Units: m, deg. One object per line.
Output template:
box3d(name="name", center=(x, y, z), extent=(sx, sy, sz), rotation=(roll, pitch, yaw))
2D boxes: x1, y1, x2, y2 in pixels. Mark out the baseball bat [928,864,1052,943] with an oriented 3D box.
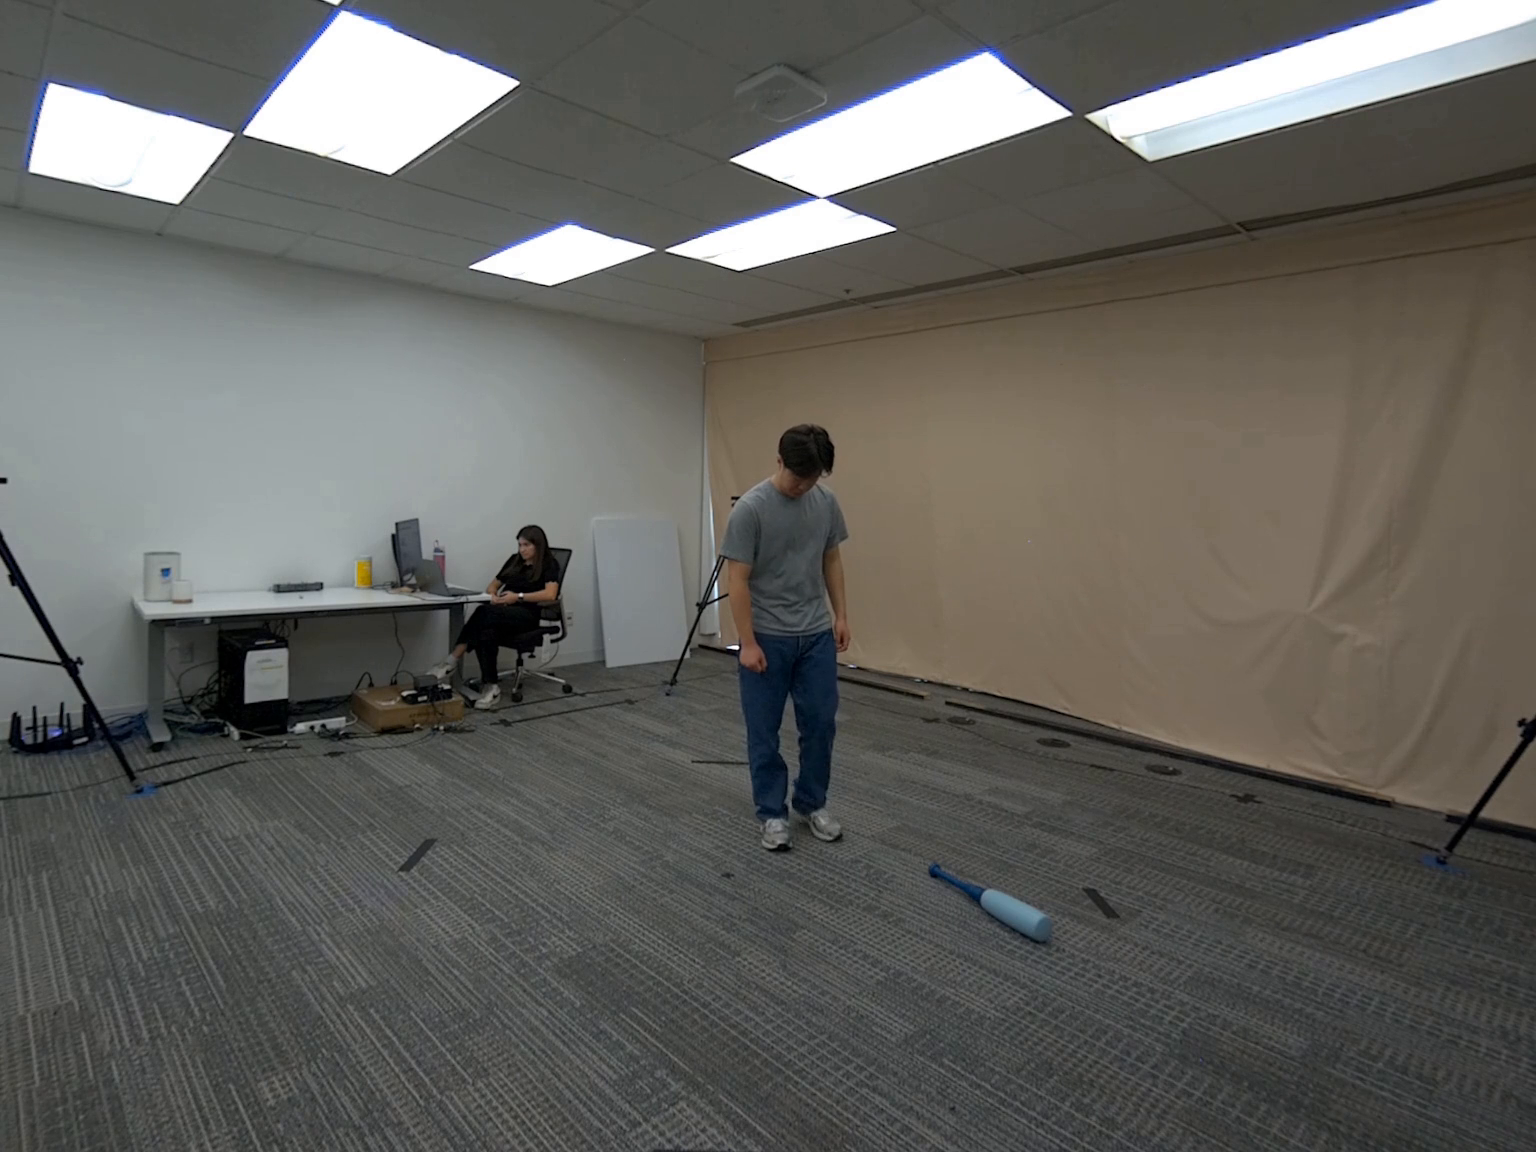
box3d(name="baseball bat", center=(0.740, 1.114, 2.906), extent=(0.087, 0.089, 0.554), rotation=(-1, 3, -28))
